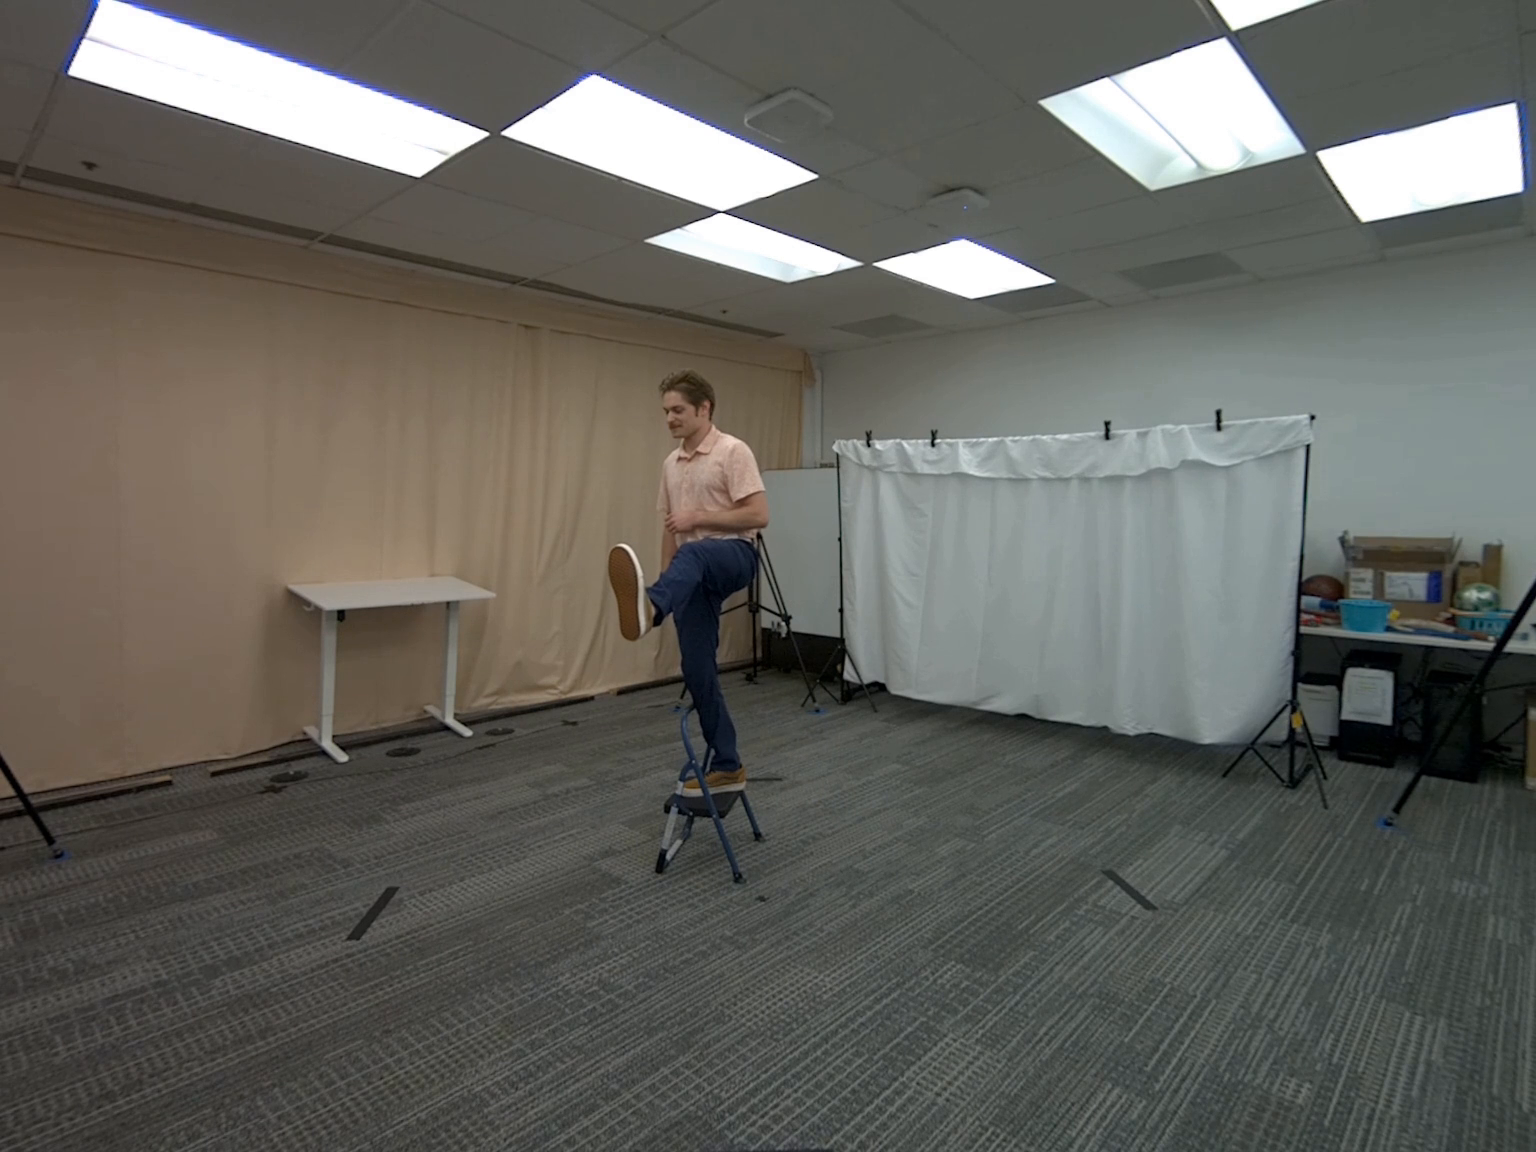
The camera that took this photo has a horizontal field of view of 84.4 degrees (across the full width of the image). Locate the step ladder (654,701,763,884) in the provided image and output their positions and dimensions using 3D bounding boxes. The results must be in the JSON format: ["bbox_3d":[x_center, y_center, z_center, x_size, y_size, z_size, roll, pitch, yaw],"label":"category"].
[{"bbox_3d":[-0.225,0.816,3.338,0.354,0.605,0.426,0,3,11],"label":"step ladder"}]
